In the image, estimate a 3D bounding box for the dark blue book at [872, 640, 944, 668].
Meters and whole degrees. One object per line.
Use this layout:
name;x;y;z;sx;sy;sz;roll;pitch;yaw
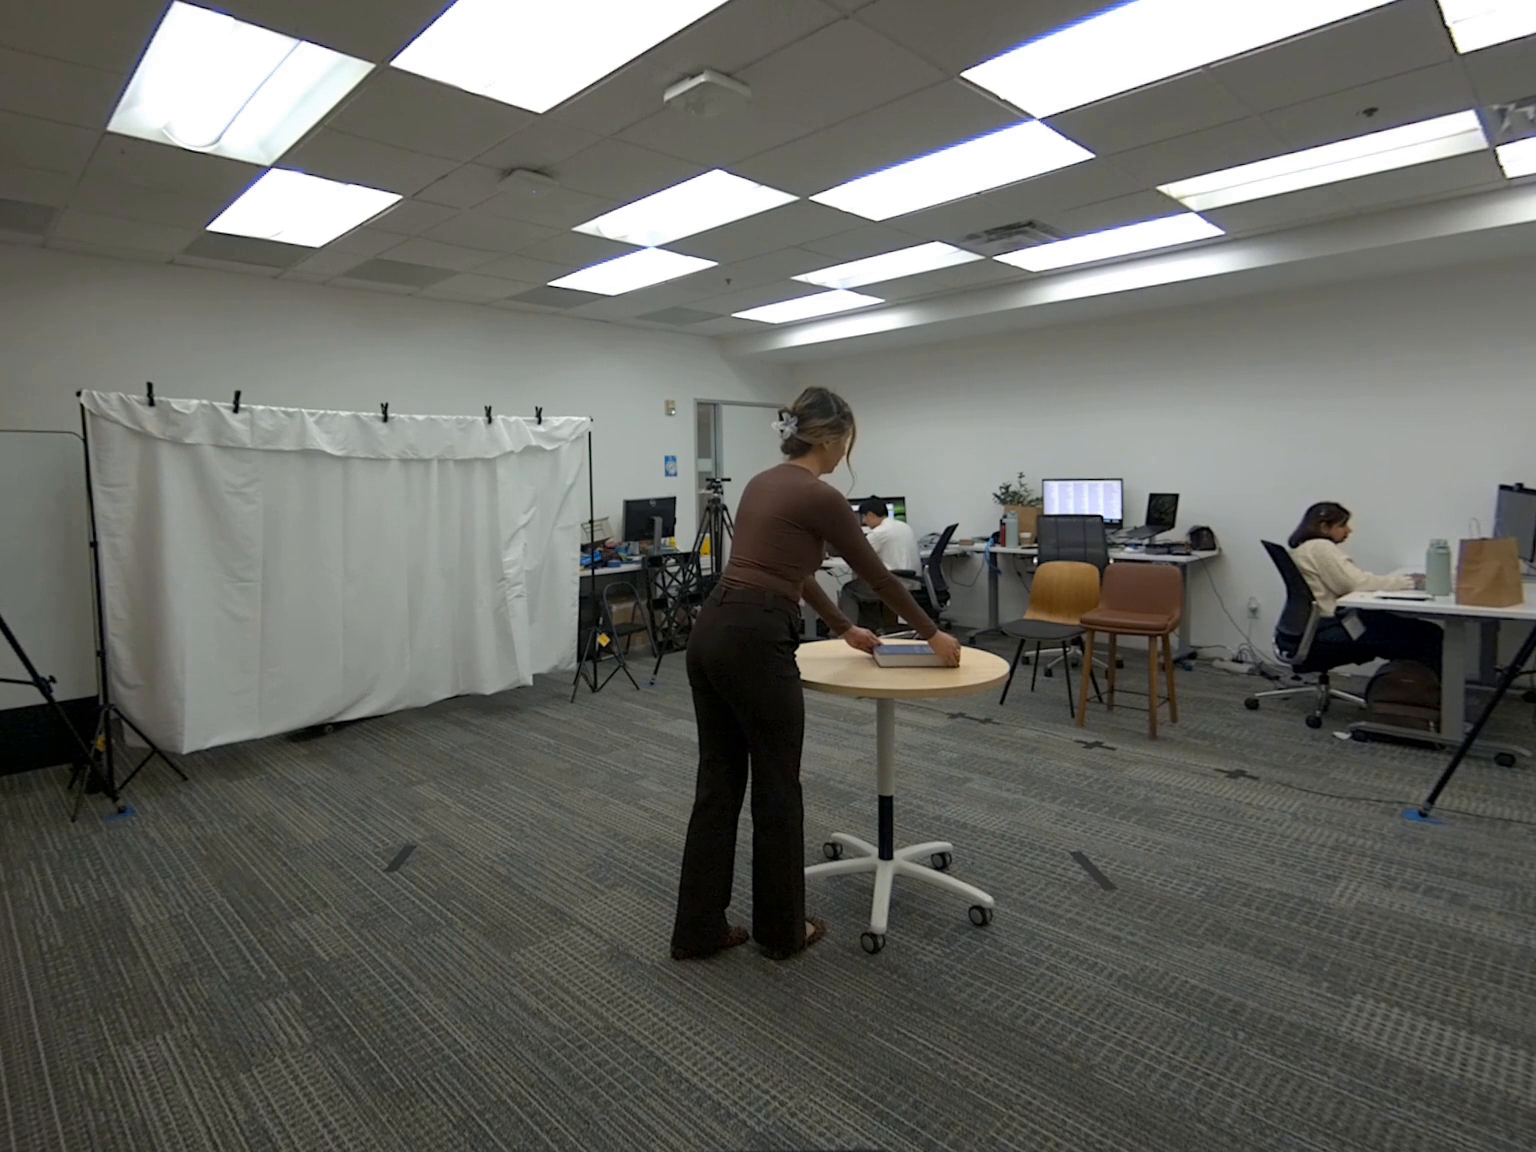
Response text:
dark blue book;0.489;0.261;2.752;0.245;0.045;0.164;-1;6;1
